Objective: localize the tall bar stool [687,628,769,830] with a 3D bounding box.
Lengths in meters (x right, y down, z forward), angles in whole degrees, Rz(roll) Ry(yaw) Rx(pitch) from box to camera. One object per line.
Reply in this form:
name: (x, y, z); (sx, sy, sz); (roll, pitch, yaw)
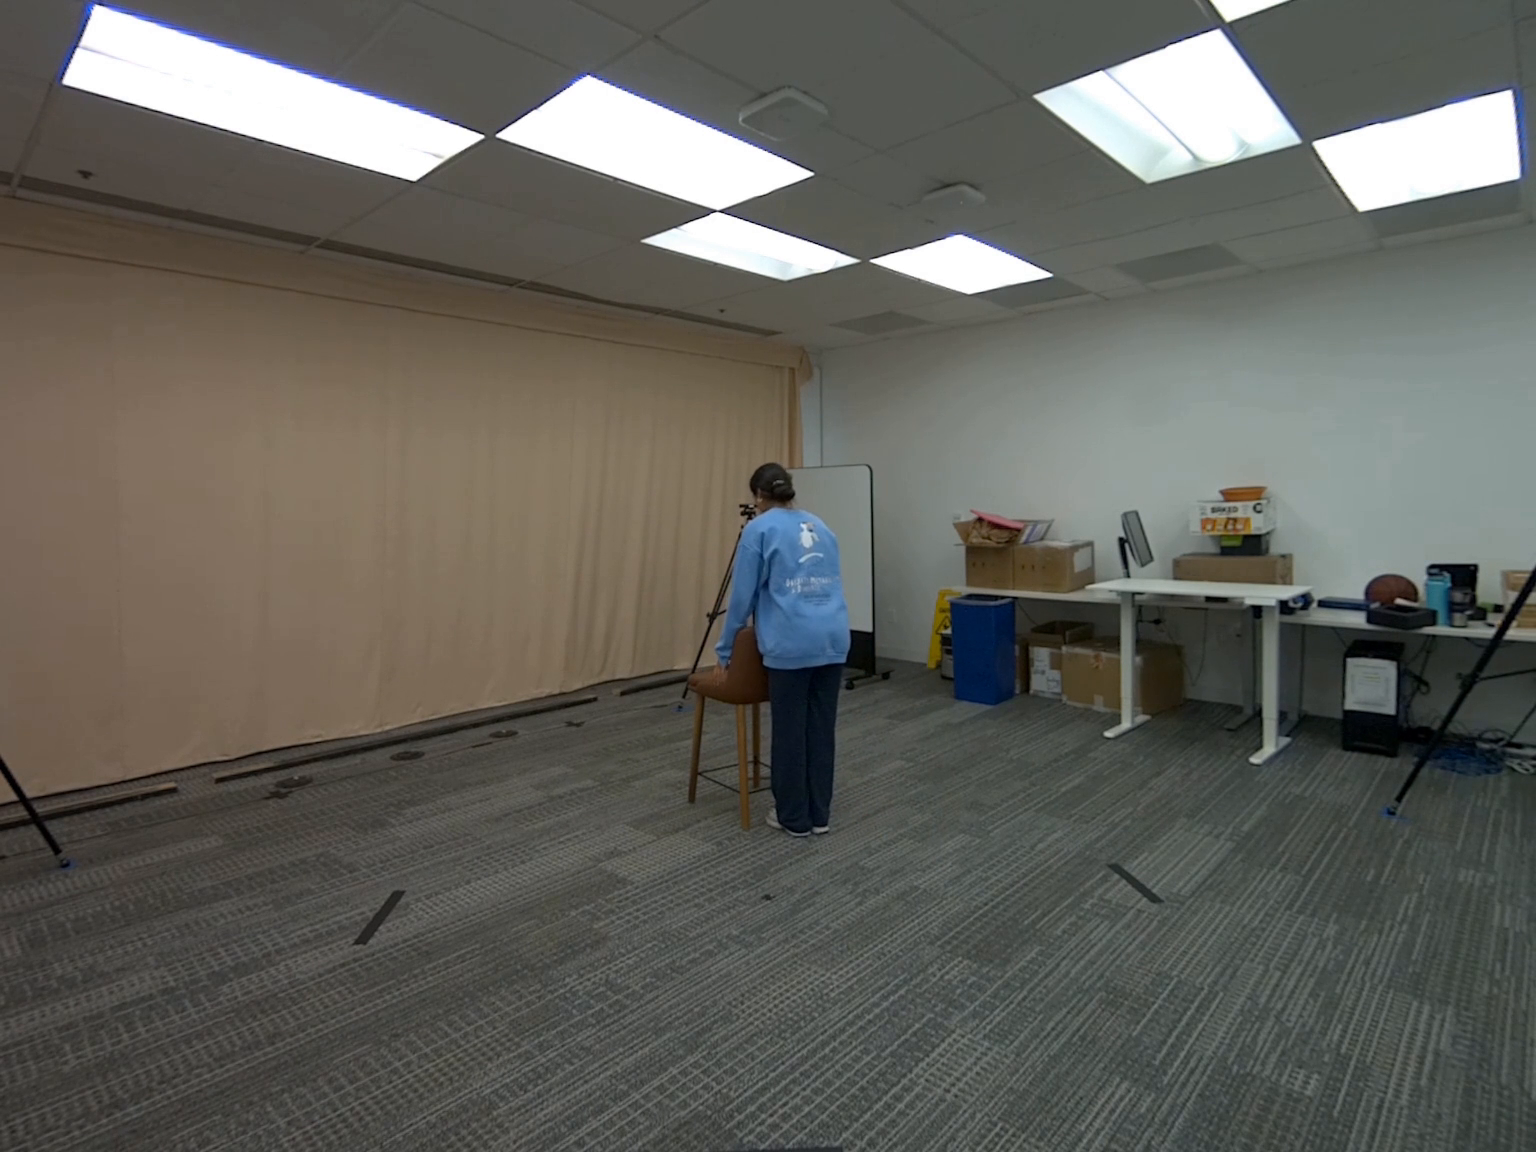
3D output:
tall bar stool: (-0.088, 0.625, 3.869); (0.443, 0.887, 0.483); (-3, 6, -35)
